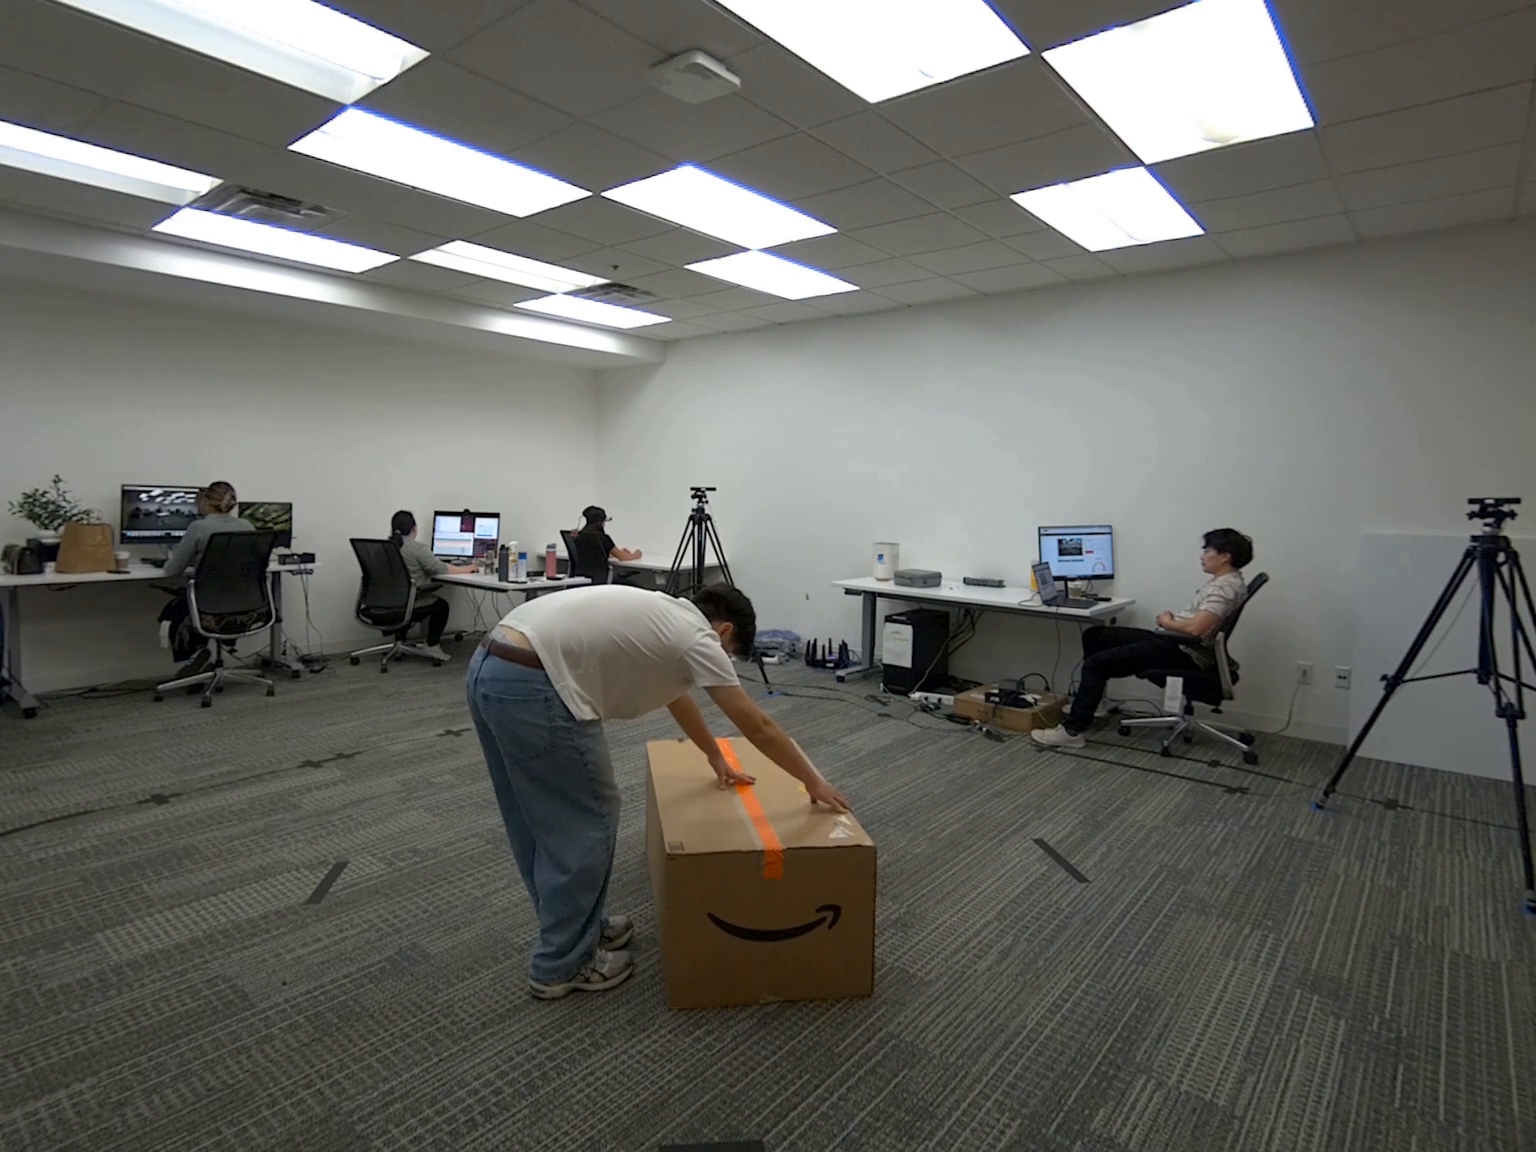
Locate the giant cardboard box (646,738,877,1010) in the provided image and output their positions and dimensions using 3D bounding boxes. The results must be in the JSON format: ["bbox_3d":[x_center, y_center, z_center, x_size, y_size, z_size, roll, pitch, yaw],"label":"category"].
[{"bbox_3d":[-0.093,0.885,2.790,0.571,0.424,1.041,1,5,-11],"label":"giant cardboard box"}]
